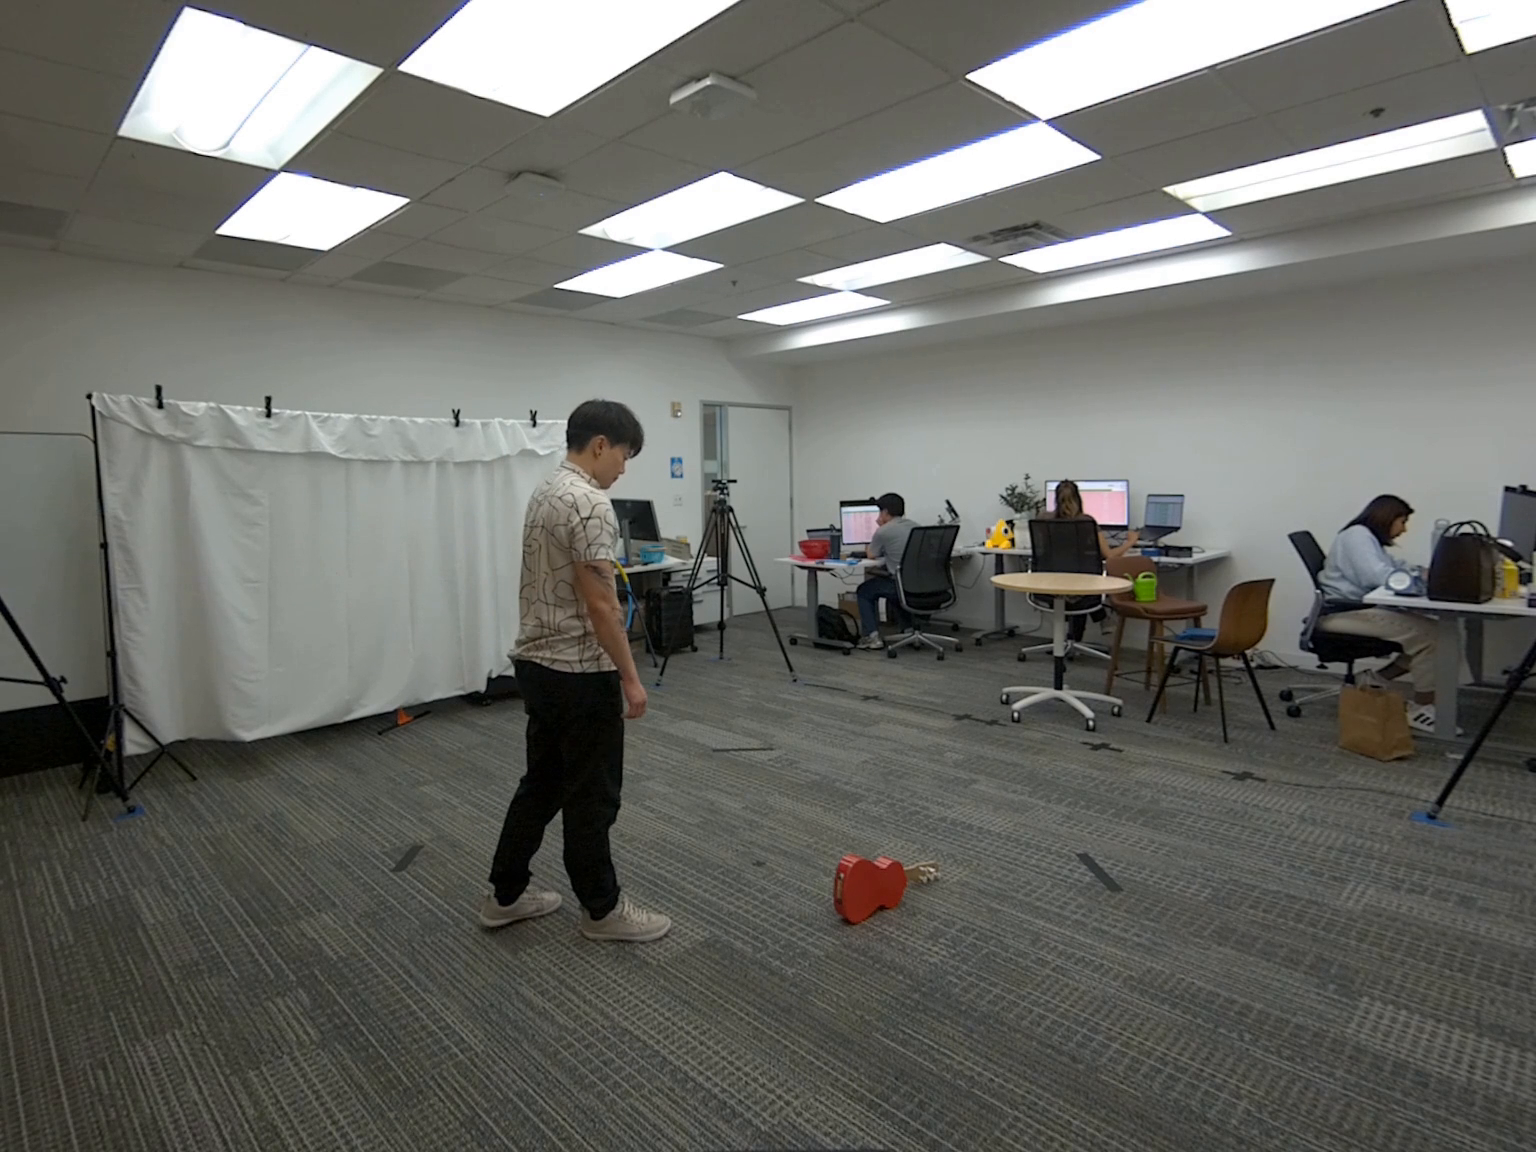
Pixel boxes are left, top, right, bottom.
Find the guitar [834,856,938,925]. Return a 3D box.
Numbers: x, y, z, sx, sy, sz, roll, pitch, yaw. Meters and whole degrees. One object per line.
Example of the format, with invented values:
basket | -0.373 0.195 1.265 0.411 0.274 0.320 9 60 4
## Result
guitar | 0.418 0.980 2.820 0.485 0.193 0.072 -5 2 -38
